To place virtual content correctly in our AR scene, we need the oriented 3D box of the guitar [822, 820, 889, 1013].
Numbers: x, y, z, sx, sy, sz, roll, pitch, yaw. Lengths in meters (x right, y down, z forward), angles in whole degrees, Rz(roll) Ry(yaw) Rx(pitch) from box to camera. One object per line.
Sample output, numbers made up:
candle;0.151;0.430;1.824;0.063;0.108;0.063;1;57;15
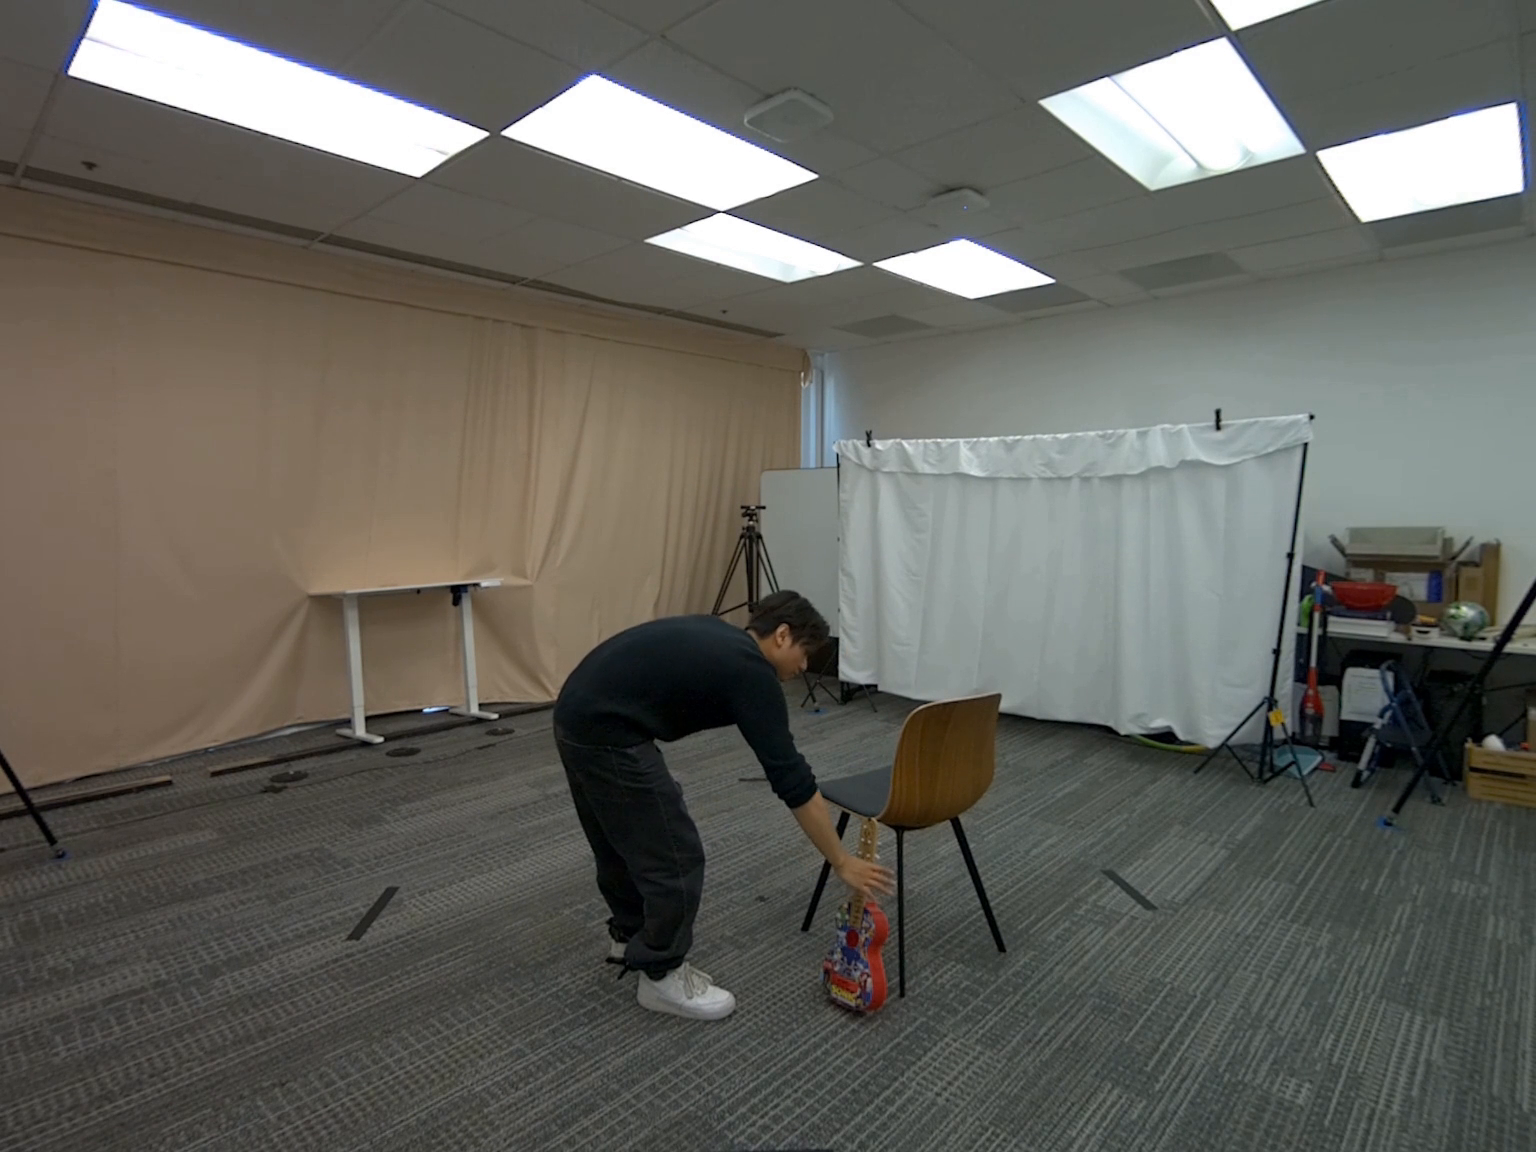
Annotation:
guitar;0.291;0.953;2.353;0.068;0.499;0.199;21;-8;-38
